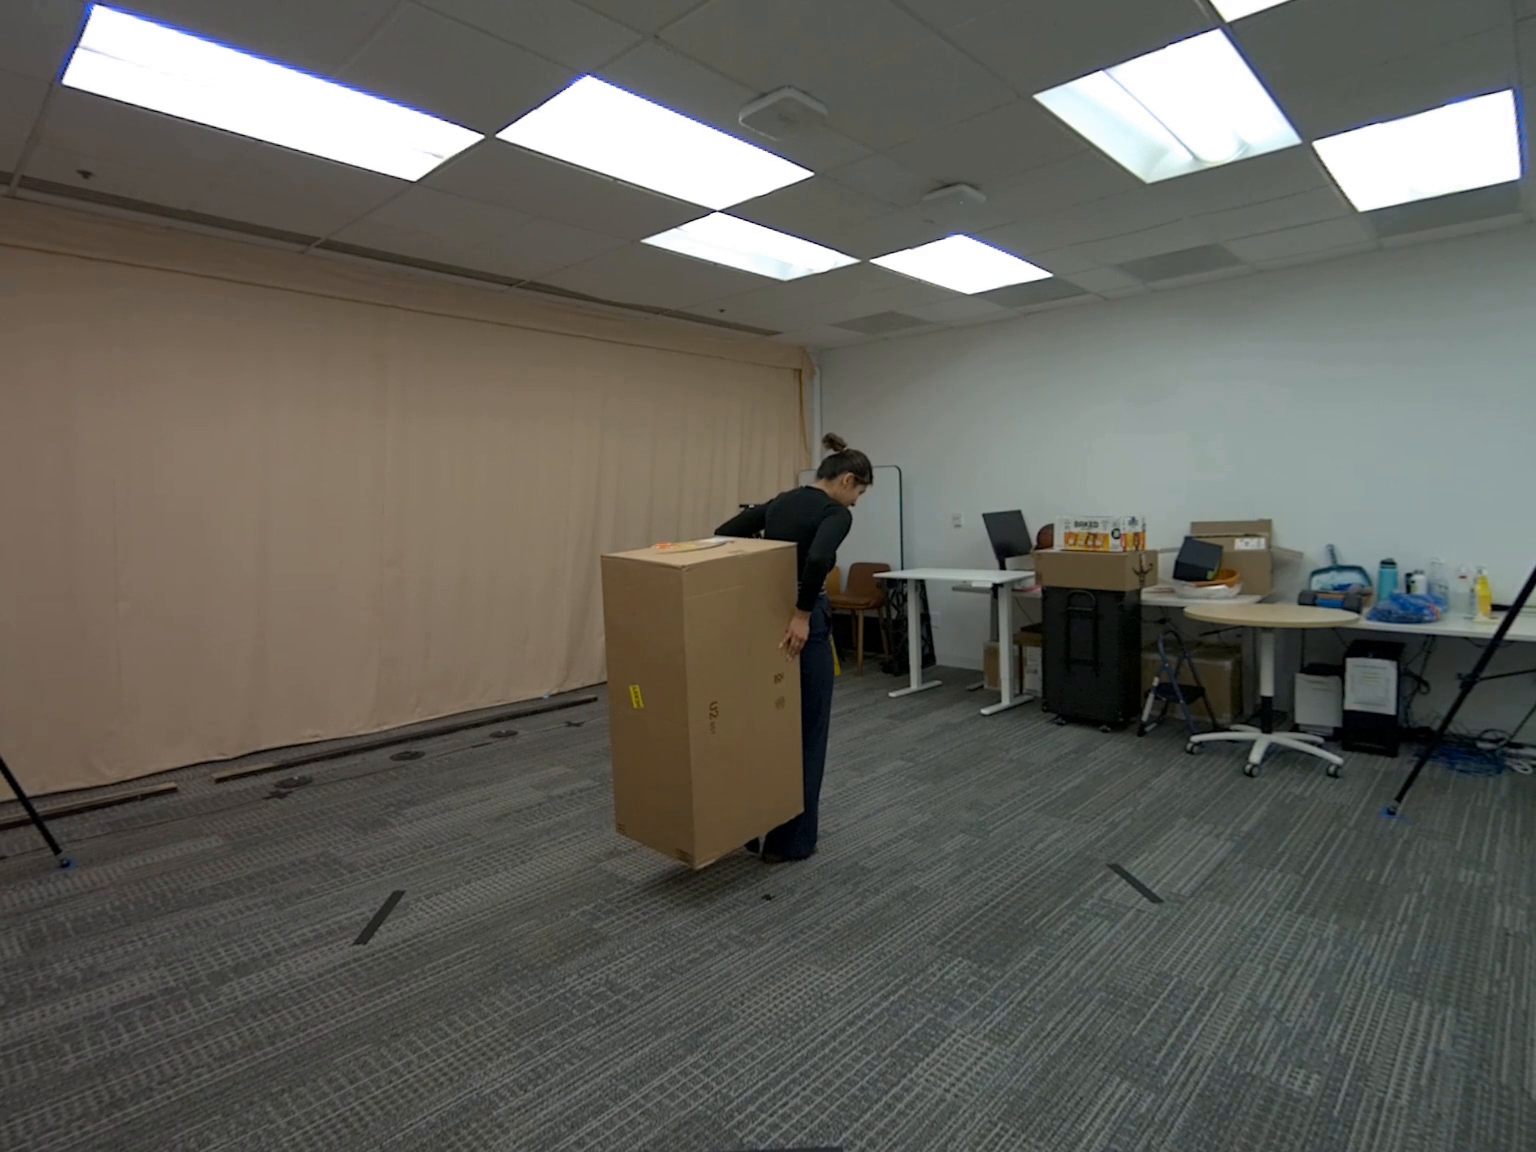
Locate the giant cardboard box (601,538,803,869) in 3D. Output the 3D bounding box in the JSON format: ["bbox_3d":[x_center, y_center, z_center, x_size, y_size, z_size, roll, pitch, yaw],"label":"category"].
[{"bbox_3d":[-0.229,0.412,3.045,0.441,1.020,0.561,6,11,42],"label":"giant cardboard box"}]
